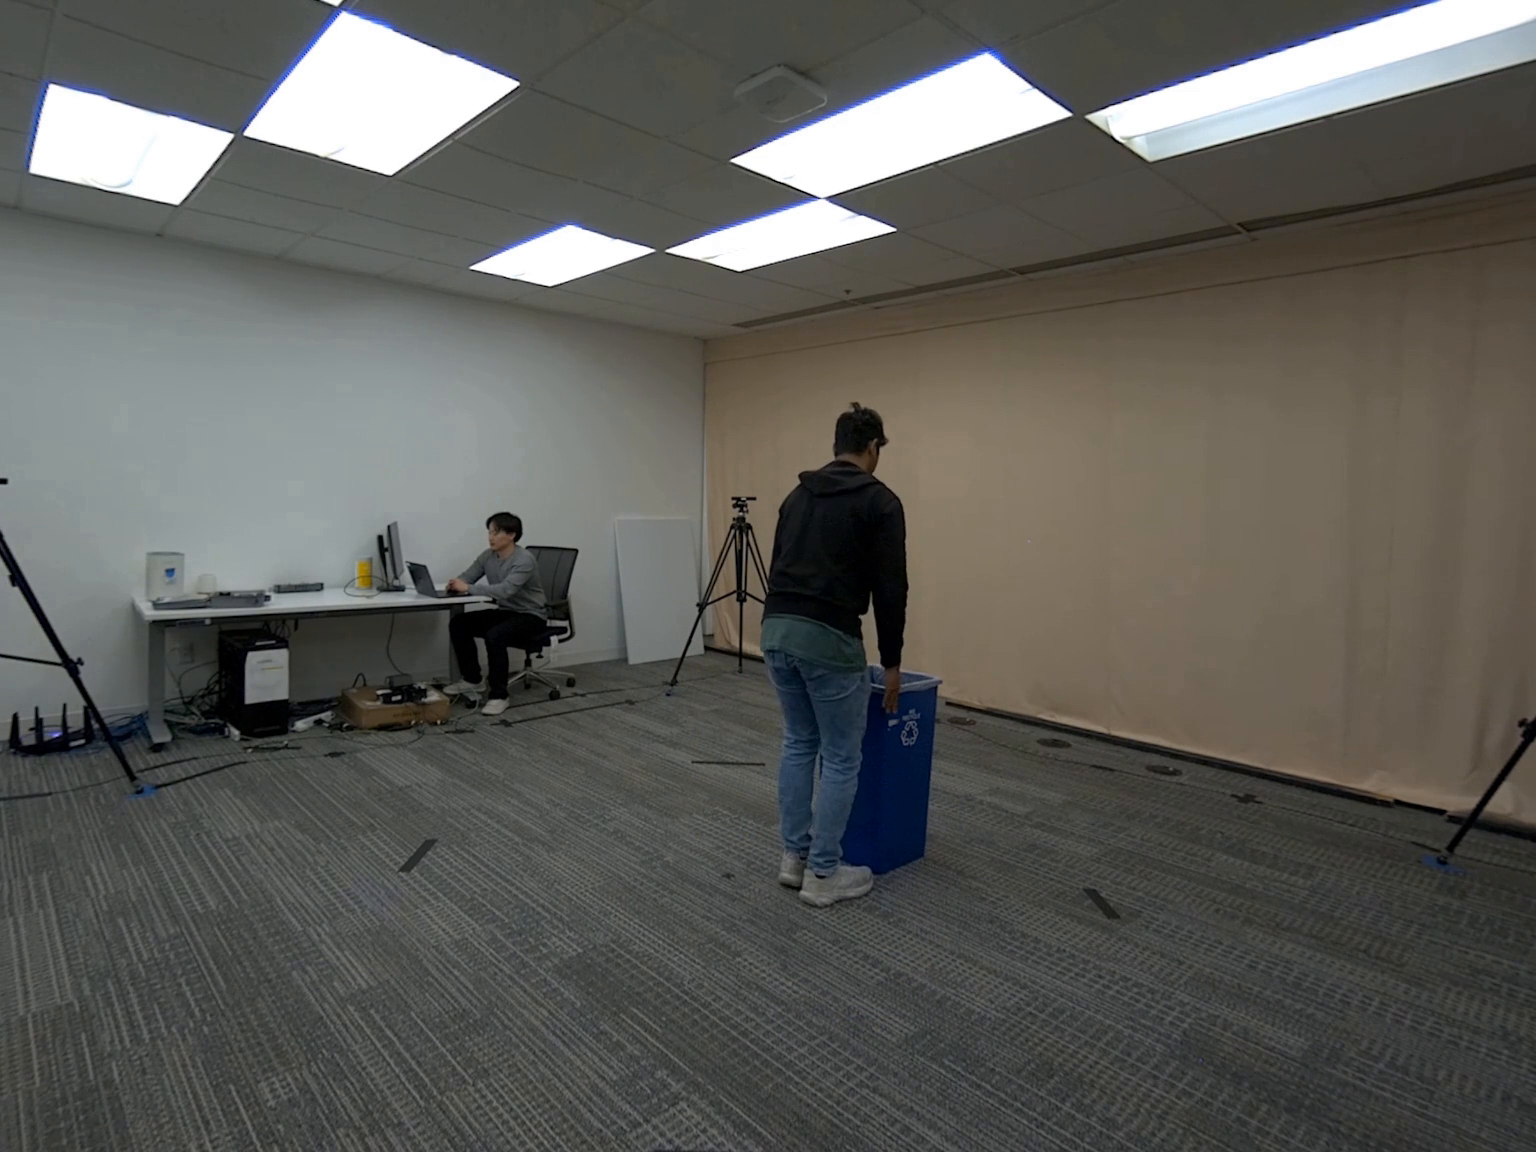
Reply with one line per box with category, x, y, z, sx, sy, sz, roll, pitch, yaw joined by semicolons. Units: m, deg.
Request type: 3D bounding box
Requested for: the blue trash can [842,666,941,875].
blue trash can;0.421;0.743;3.329;0.365;0.712;0.388;-1;4;-44
